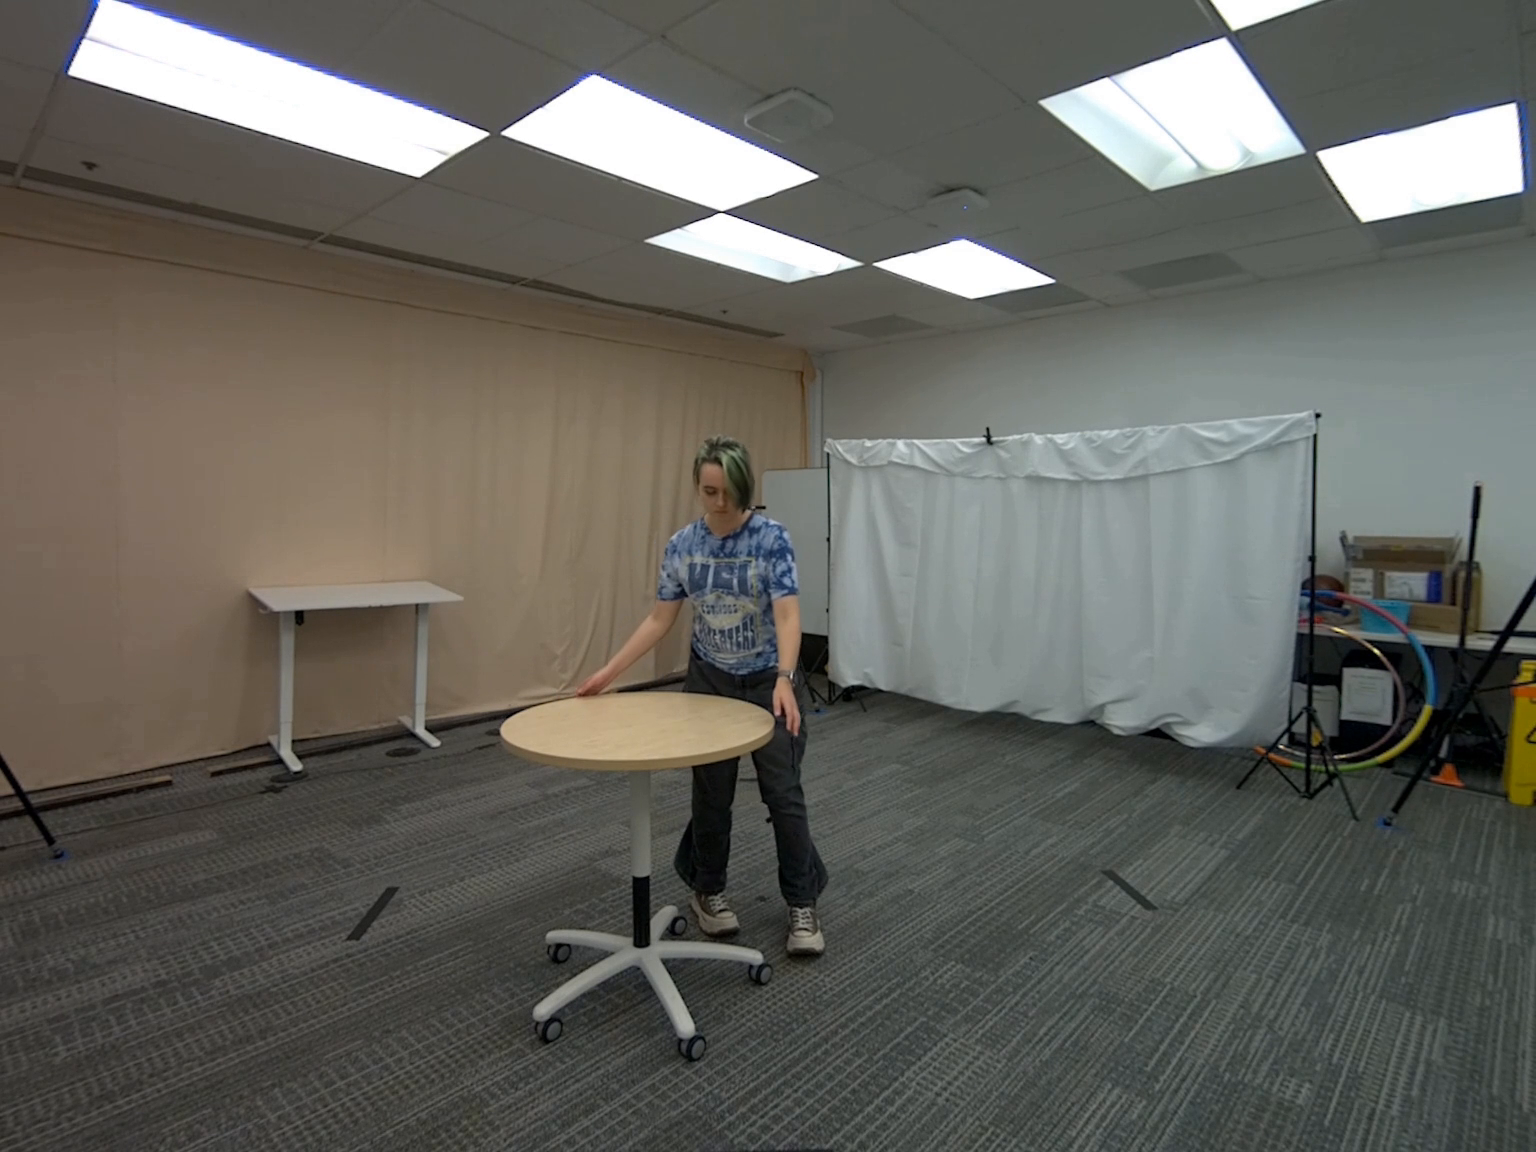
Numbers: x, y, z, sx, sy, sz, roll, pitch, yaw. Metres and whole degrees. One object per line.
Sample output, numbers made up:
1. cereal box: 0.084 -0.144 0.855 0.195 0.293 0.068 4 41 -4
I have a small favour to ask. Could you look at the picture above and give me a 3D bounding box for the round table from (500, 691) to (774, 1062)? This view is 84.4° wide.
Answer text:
1. round table: -0.366 0.807 2.392 0.763 0.792 0.766 -1 4 -2
